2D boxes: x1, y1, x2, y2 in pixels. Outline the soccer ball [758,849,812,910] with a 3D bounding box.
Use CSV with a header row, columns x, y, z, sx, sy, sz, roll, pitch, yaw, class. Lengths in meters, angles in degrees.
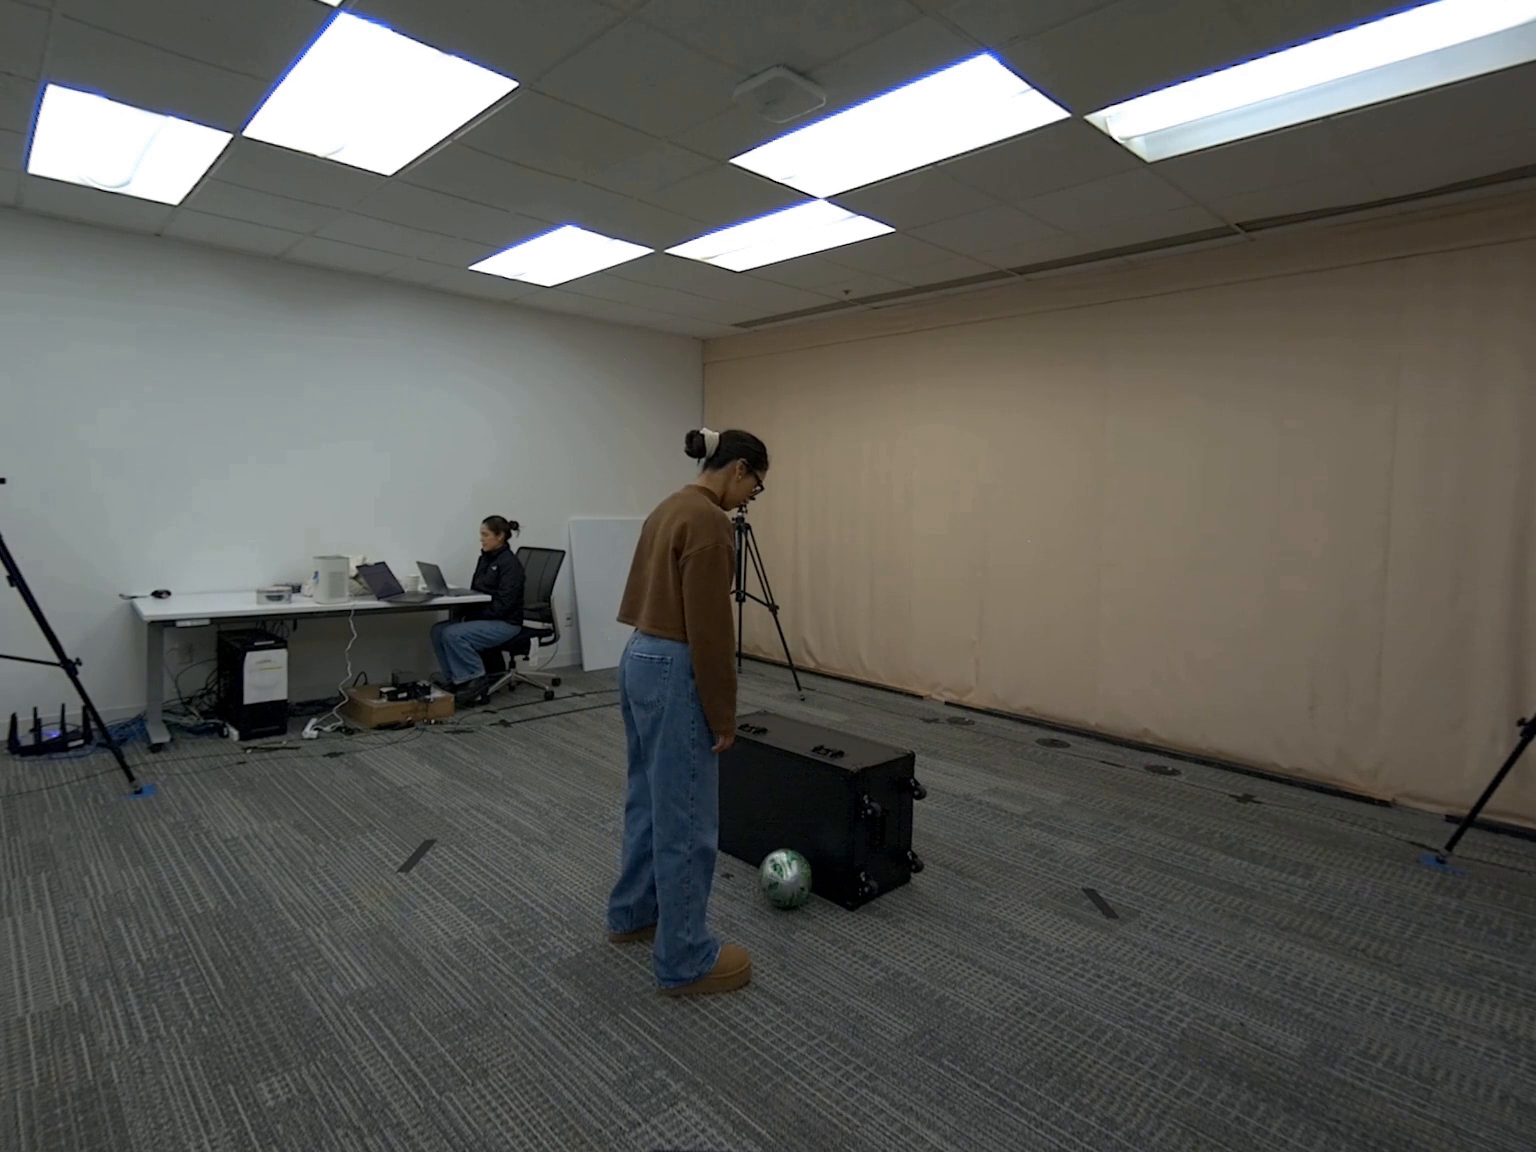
x,y,z,sx,sy,sz,roll,pitch,yaw,class
0.050,1.028,2.887,0.187,0.187,0.188,1,4,-1,soccer ball
